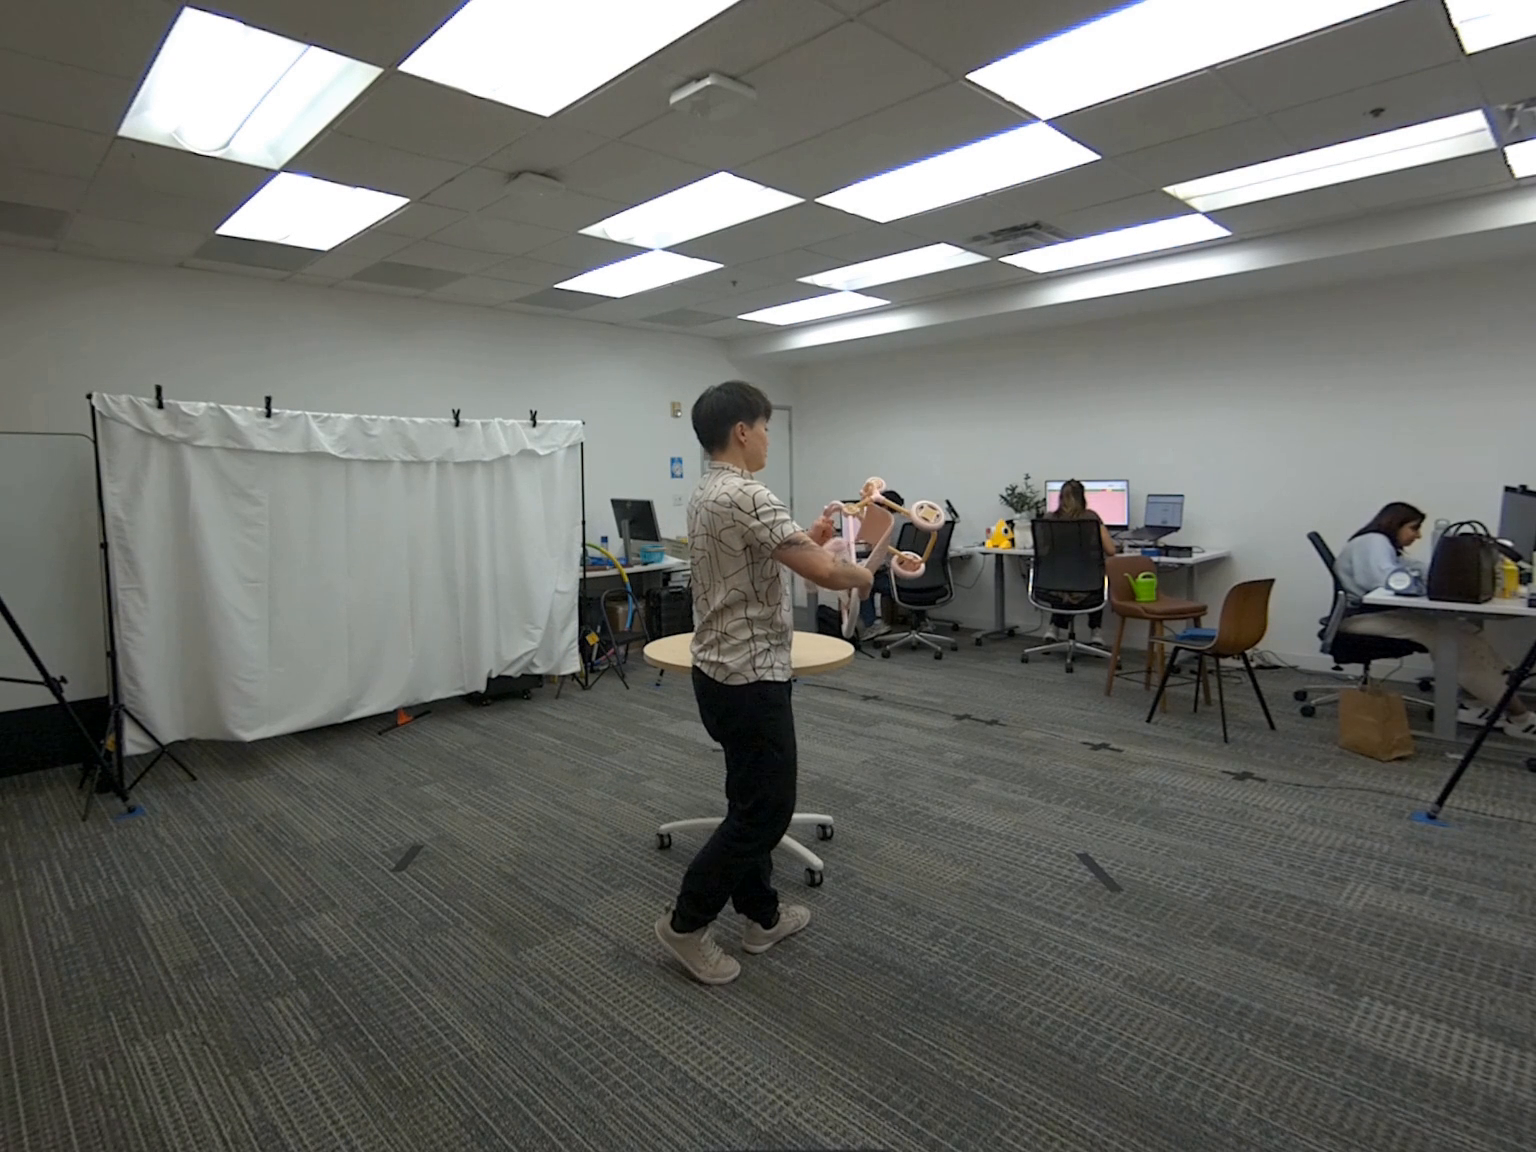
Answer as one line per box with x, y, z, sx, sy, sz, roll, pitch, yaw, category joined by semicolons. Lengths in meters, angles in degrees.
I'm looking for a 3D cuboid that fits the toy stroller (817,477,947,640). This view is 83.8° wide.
0.294;-0.092;2.672;0.532;0.350;0.276;-37;-22;-29;toy stroller
